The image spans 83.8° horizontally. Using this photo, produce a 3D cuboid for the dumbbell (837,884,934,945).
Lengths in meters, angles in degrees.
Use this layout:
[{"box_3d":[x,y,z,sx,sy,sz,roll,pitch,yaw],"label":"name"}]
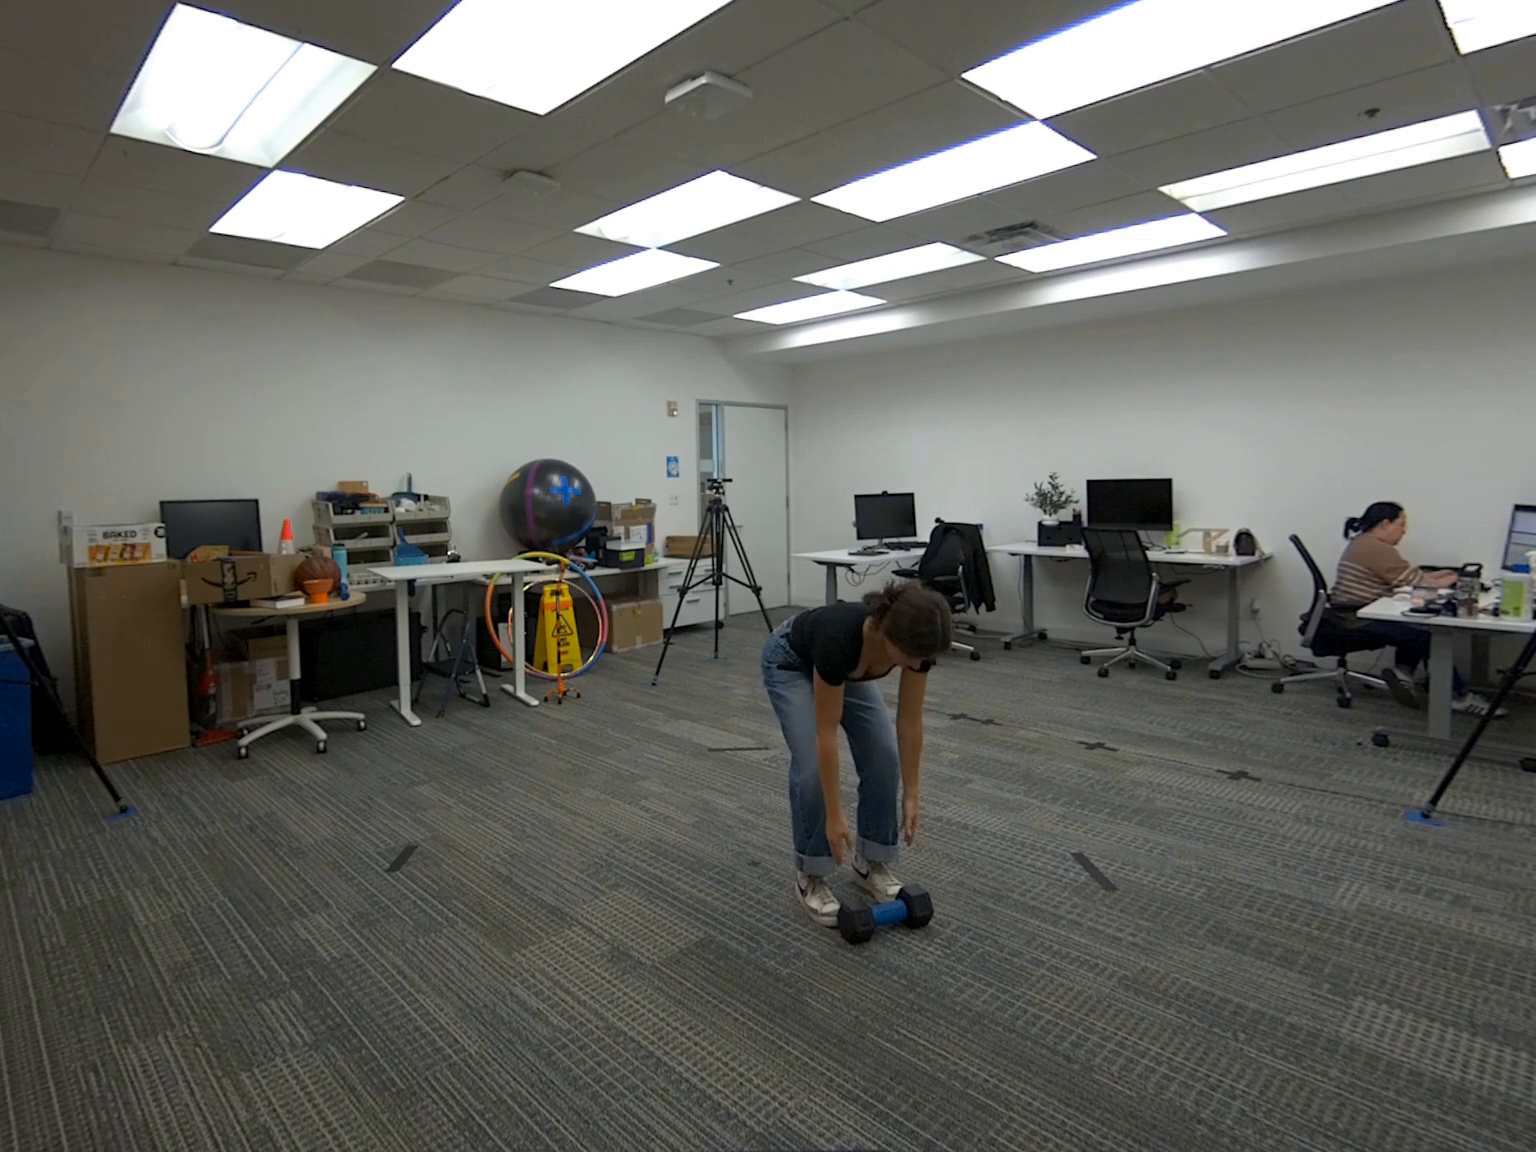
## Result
[{"box_3d":[0.370,1.045,2.619,0.288,0.121,0.113,-4,35,-24],"label":"dumbbell"}]
